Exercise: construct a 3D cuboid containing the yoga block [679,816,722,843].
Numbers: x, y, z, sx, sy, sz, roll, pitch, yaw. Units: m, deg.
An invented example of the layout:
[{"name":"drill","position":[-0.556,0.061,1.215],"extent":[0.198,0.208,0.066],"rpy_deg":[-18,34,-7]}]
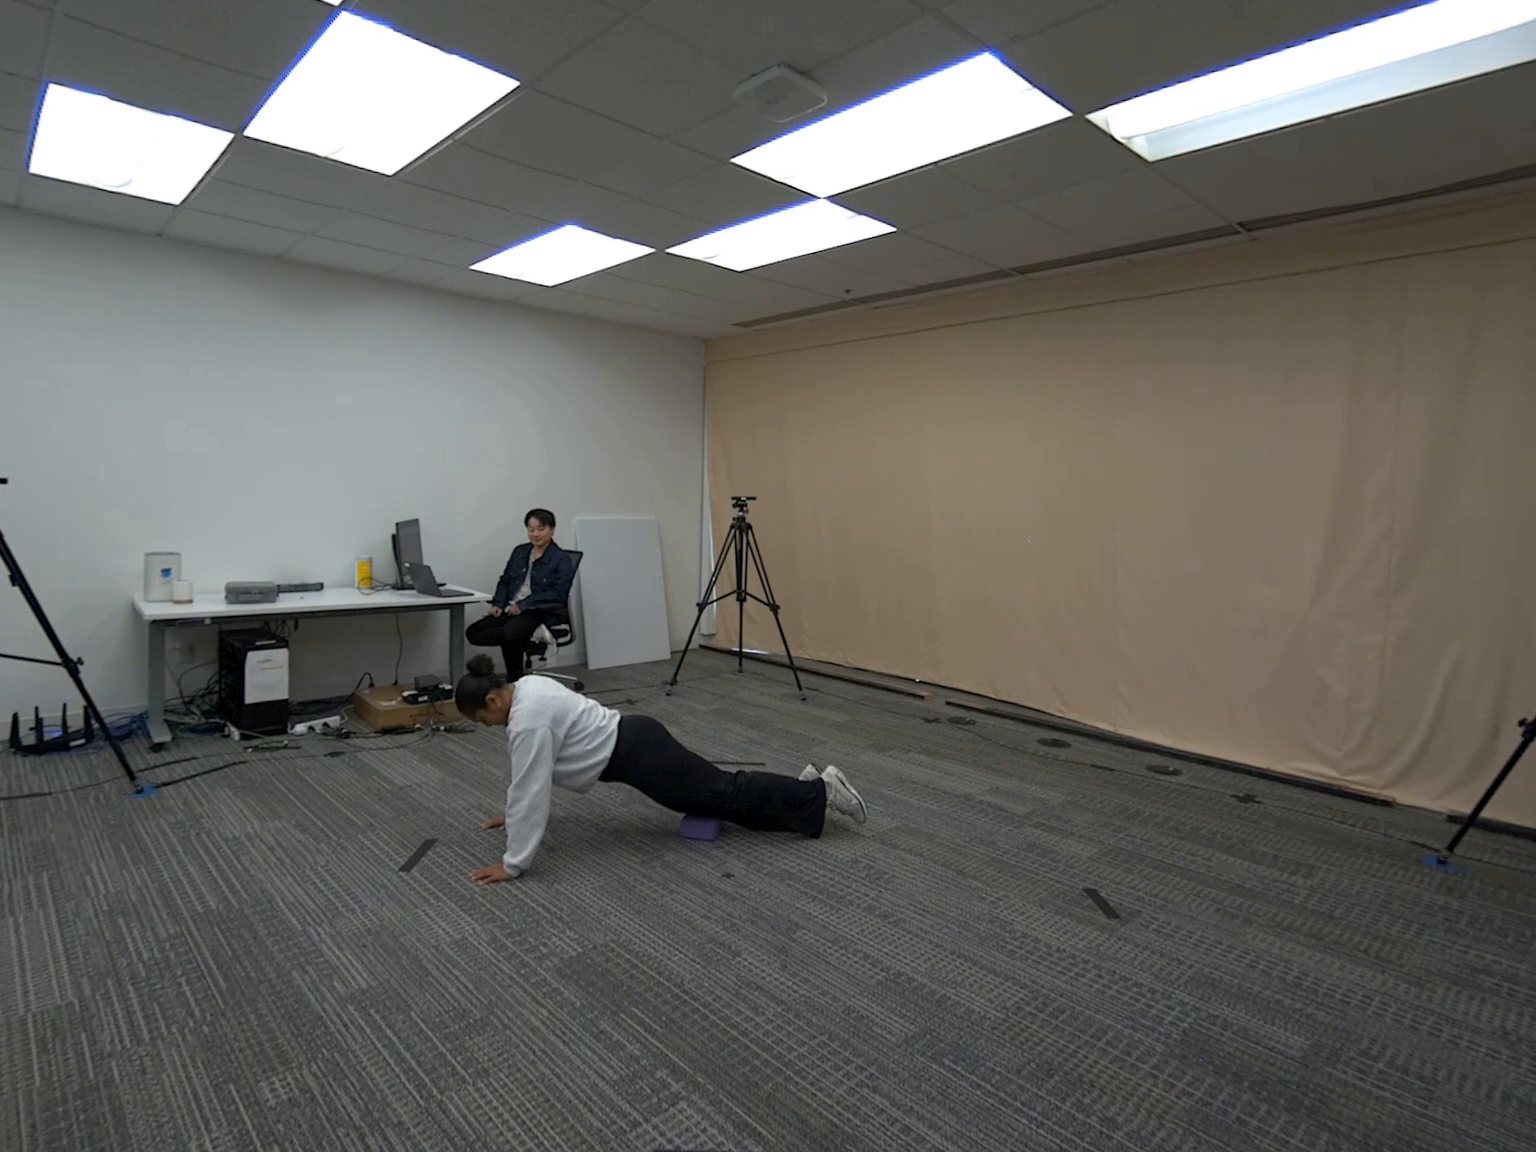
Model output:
[{"name":"yoga block","position":[-0.271,1.013,3.528],"extent":[0.150,0.076,0.228],"rpy_deg":[4,7,11]}]
